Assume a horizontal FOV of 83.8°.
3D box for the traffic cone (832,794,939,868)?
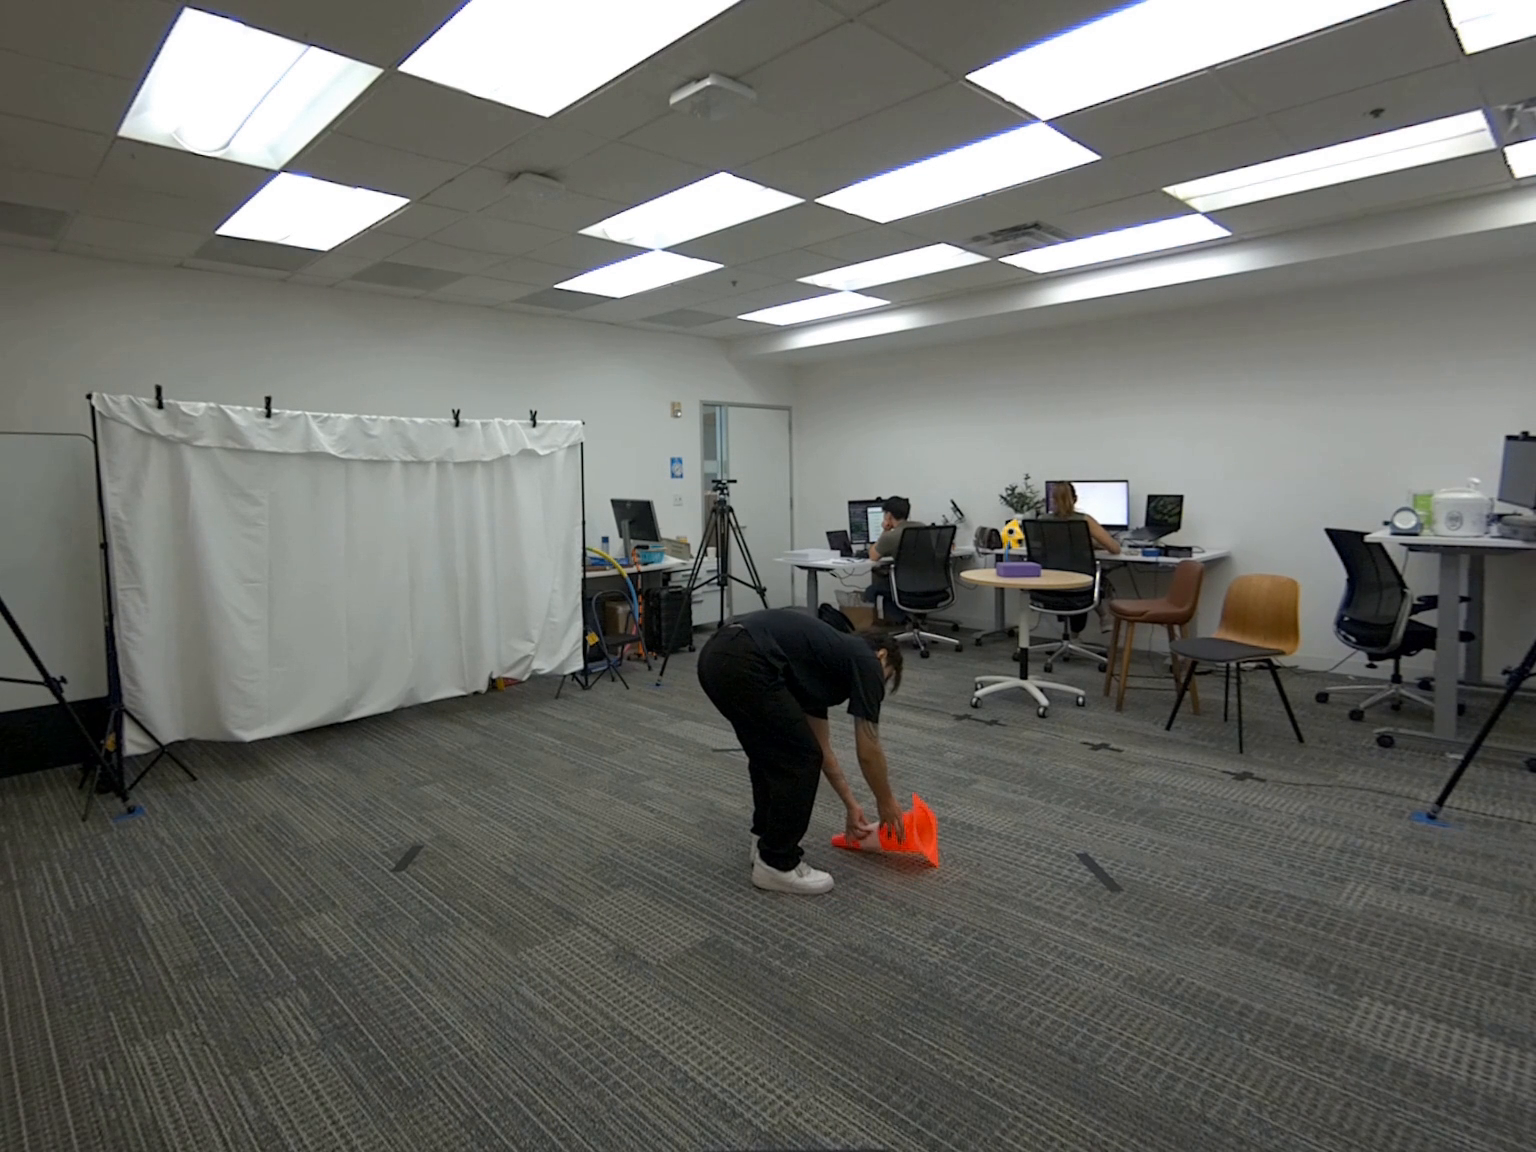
[{"bbox_3d":[0.410,0.971,3.175,0.389,0.209,0.196,-20,-52,30],"label":"traffic cone"}]
